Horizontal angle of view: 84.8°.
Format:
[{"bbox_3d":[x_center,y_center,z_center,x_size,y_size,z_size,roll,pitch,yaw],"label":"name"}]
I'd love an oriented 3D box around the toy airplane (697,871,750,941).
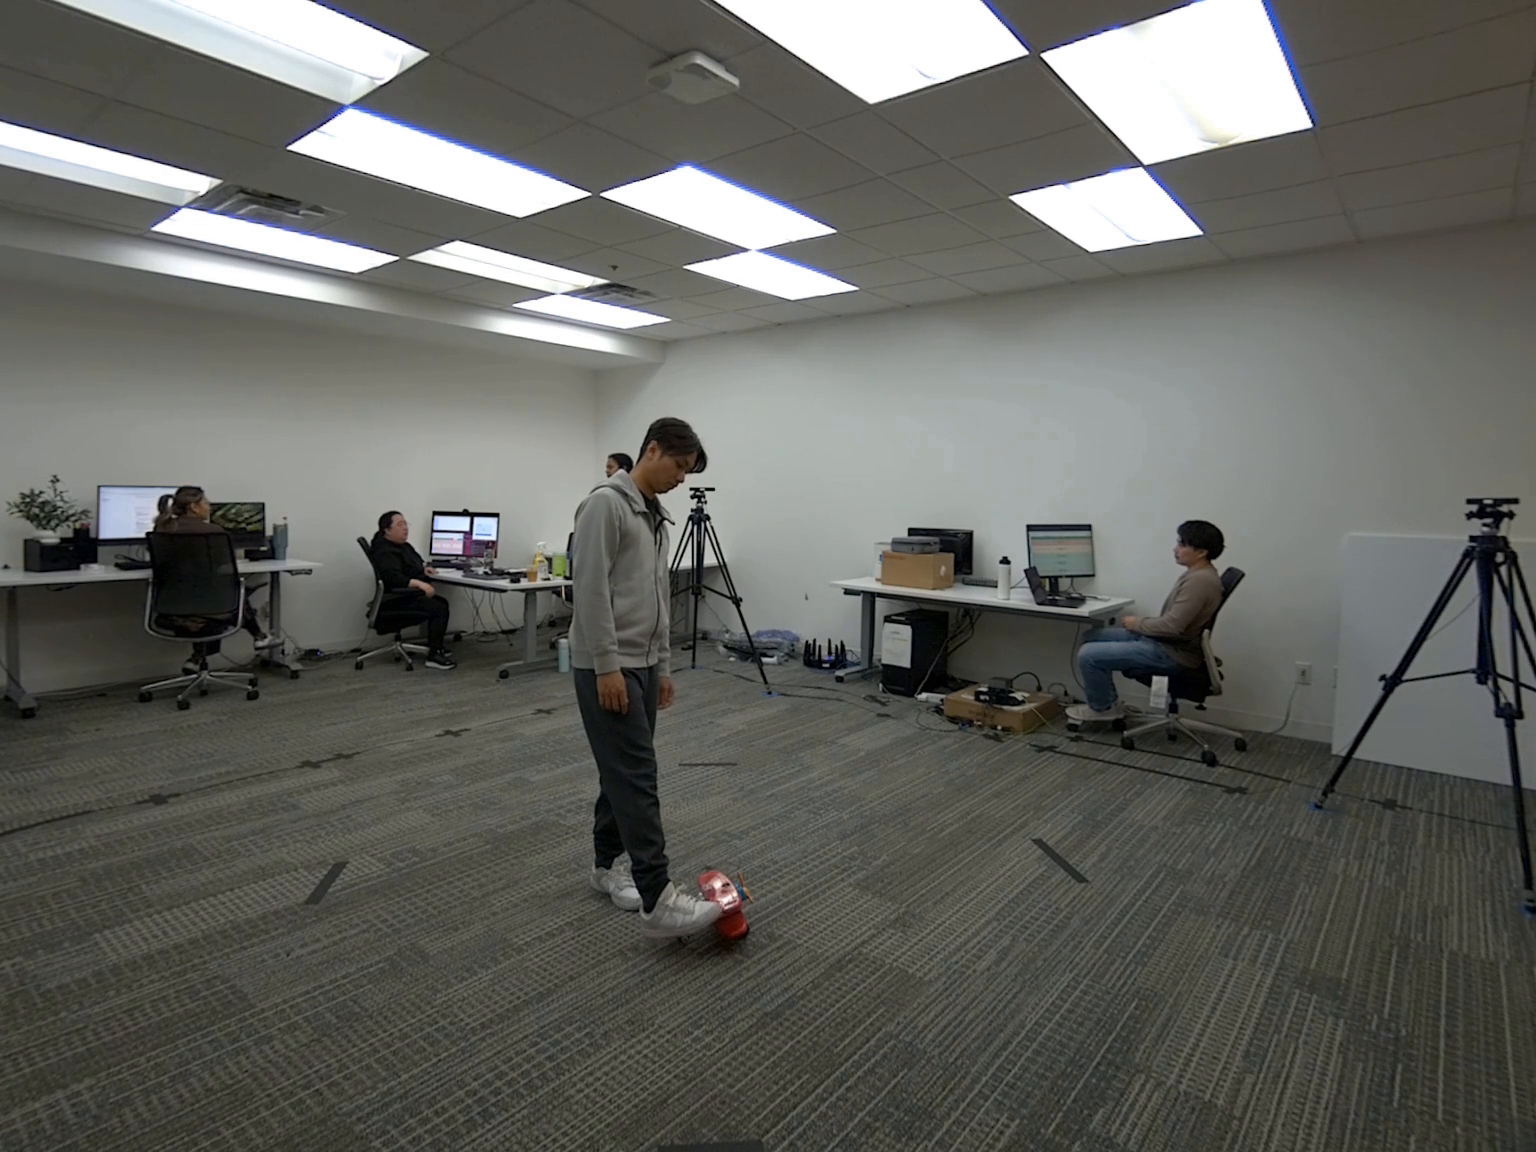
[{"bbox_3d":[-0.184,1.041,2.621,0.260,0.156,0.251,5,6,42],"label":"toy airplane"}]
